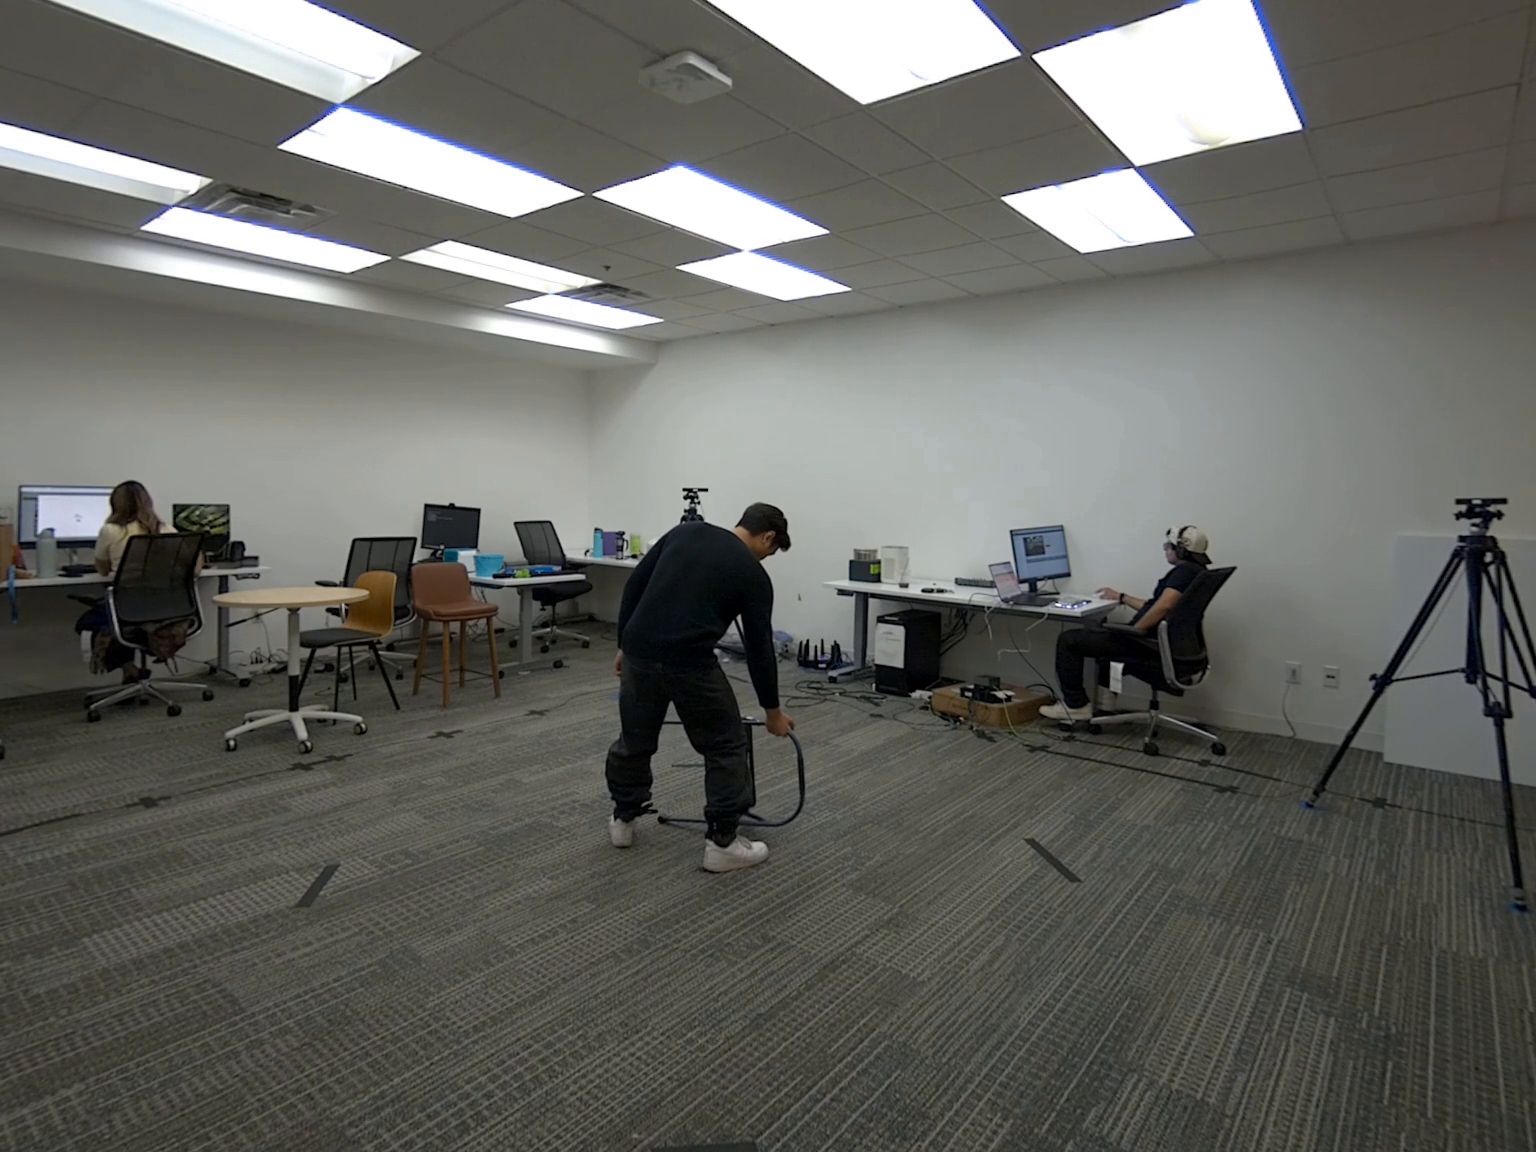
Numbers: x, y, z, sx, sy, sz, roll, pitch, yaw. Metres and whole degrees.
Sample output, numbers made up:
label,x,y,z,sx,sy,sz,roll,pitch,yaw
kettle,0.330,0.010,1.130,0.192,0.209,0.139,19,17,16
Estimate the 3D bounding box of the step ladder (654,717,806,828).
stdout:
label,x,y,z,sx,sy,sz,roll,pitch,yaw
step ladder,-0.142,0.784,3.444,0.338,0.432,0.623,-1,-3,-43
